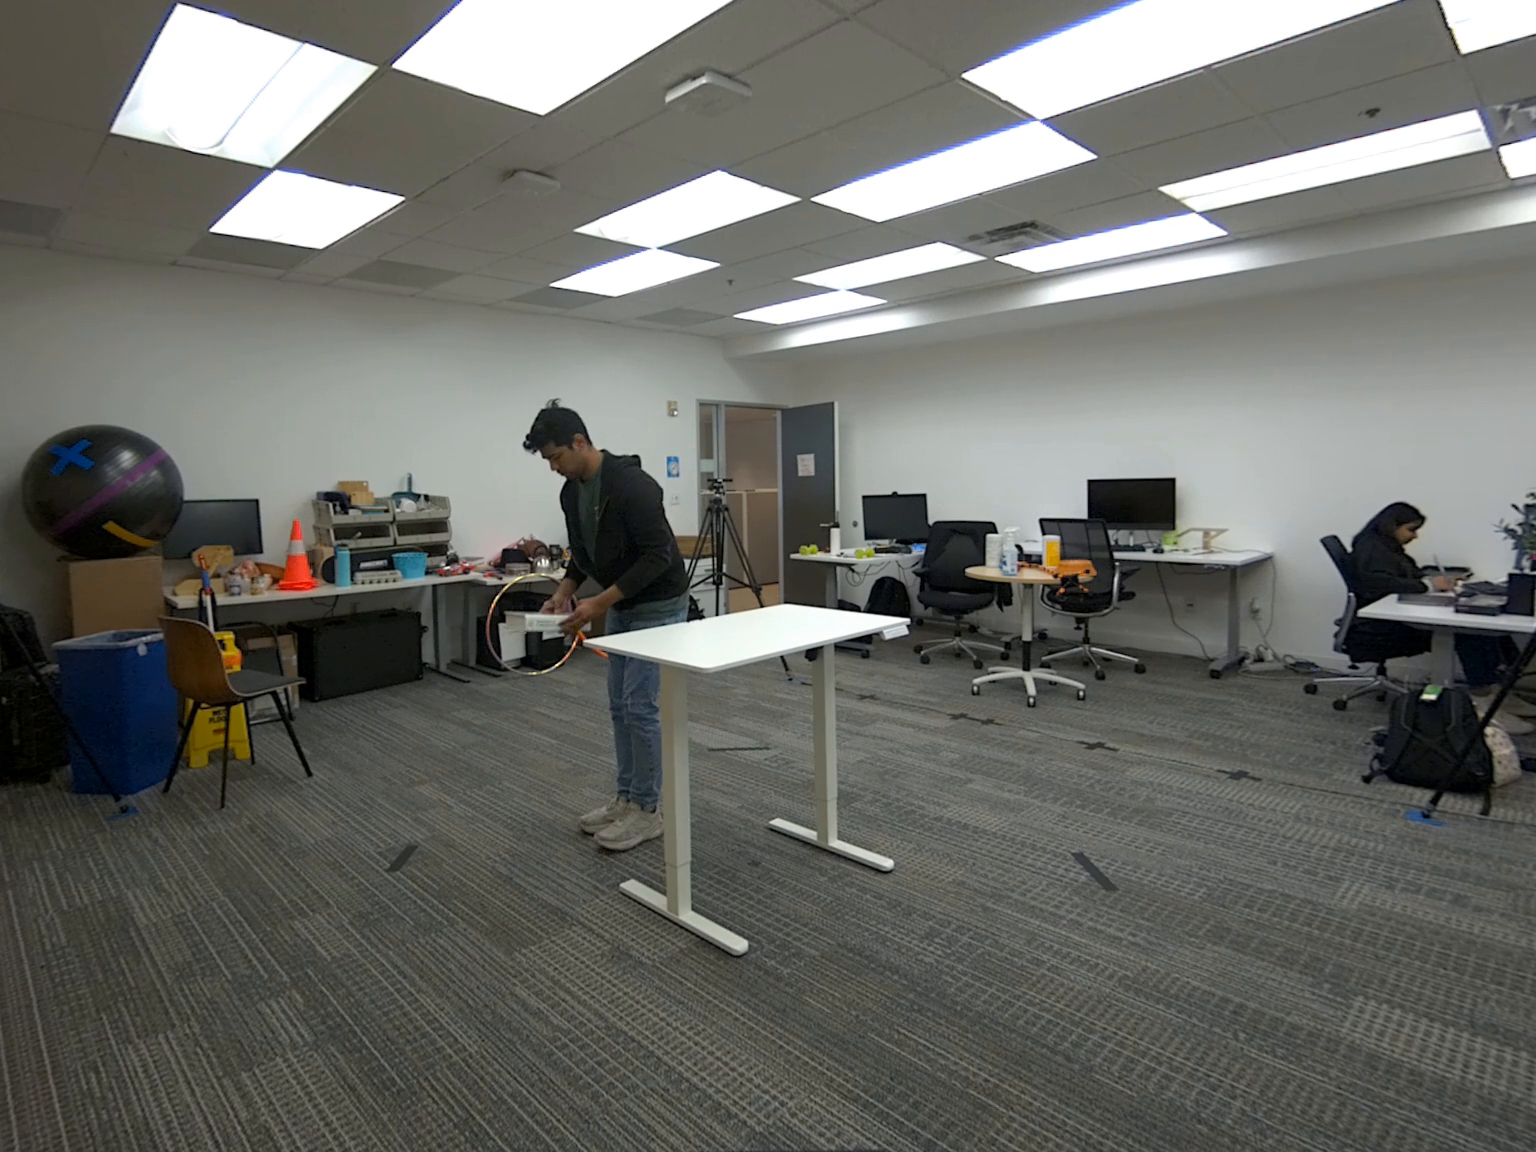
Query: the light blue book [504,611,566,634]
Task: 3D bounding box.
[{"bbox_3d":[-0.813,0.181,3.165,0.254,0.059,0.196,5,-1,-33],"label":"light blue book"}]
